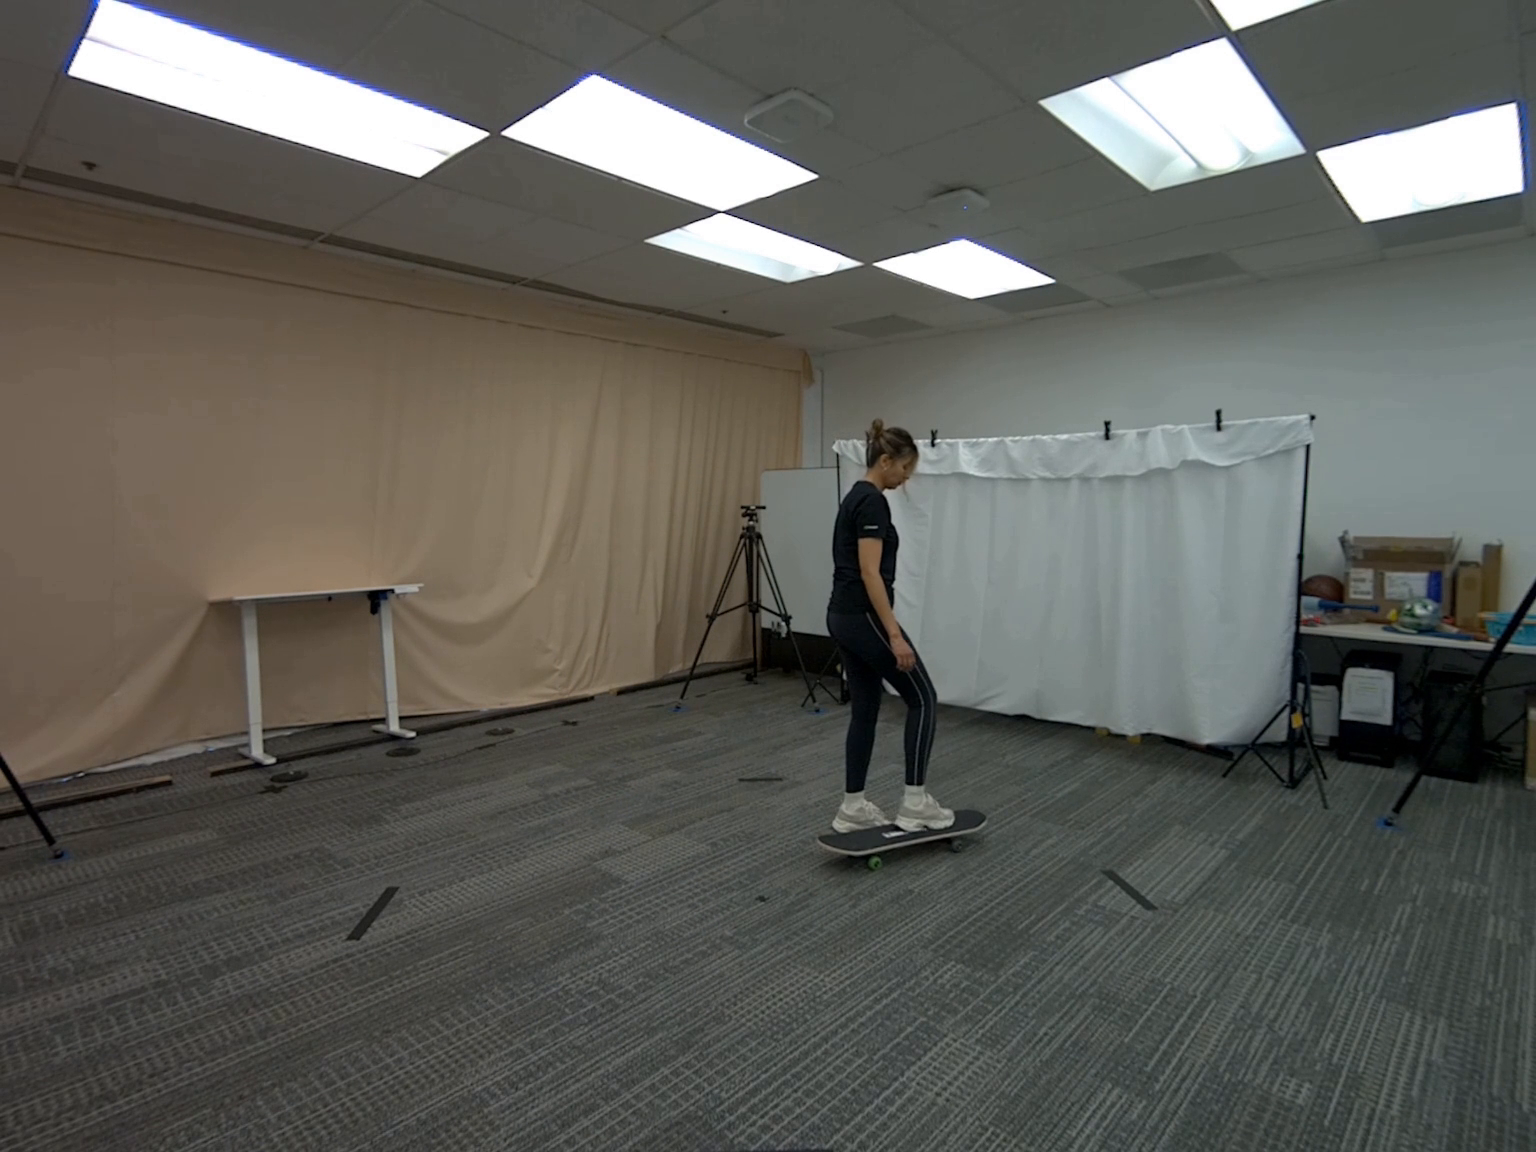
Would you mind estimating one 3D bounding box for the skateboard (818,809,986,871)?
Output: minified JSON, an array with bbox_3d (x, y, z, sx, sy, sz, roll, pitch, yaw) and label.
[{"bbox_3d":[0.536,1.057,3.362,0.767,0.110,0.198,-2,4,-25],"label":"skateboard"}]
